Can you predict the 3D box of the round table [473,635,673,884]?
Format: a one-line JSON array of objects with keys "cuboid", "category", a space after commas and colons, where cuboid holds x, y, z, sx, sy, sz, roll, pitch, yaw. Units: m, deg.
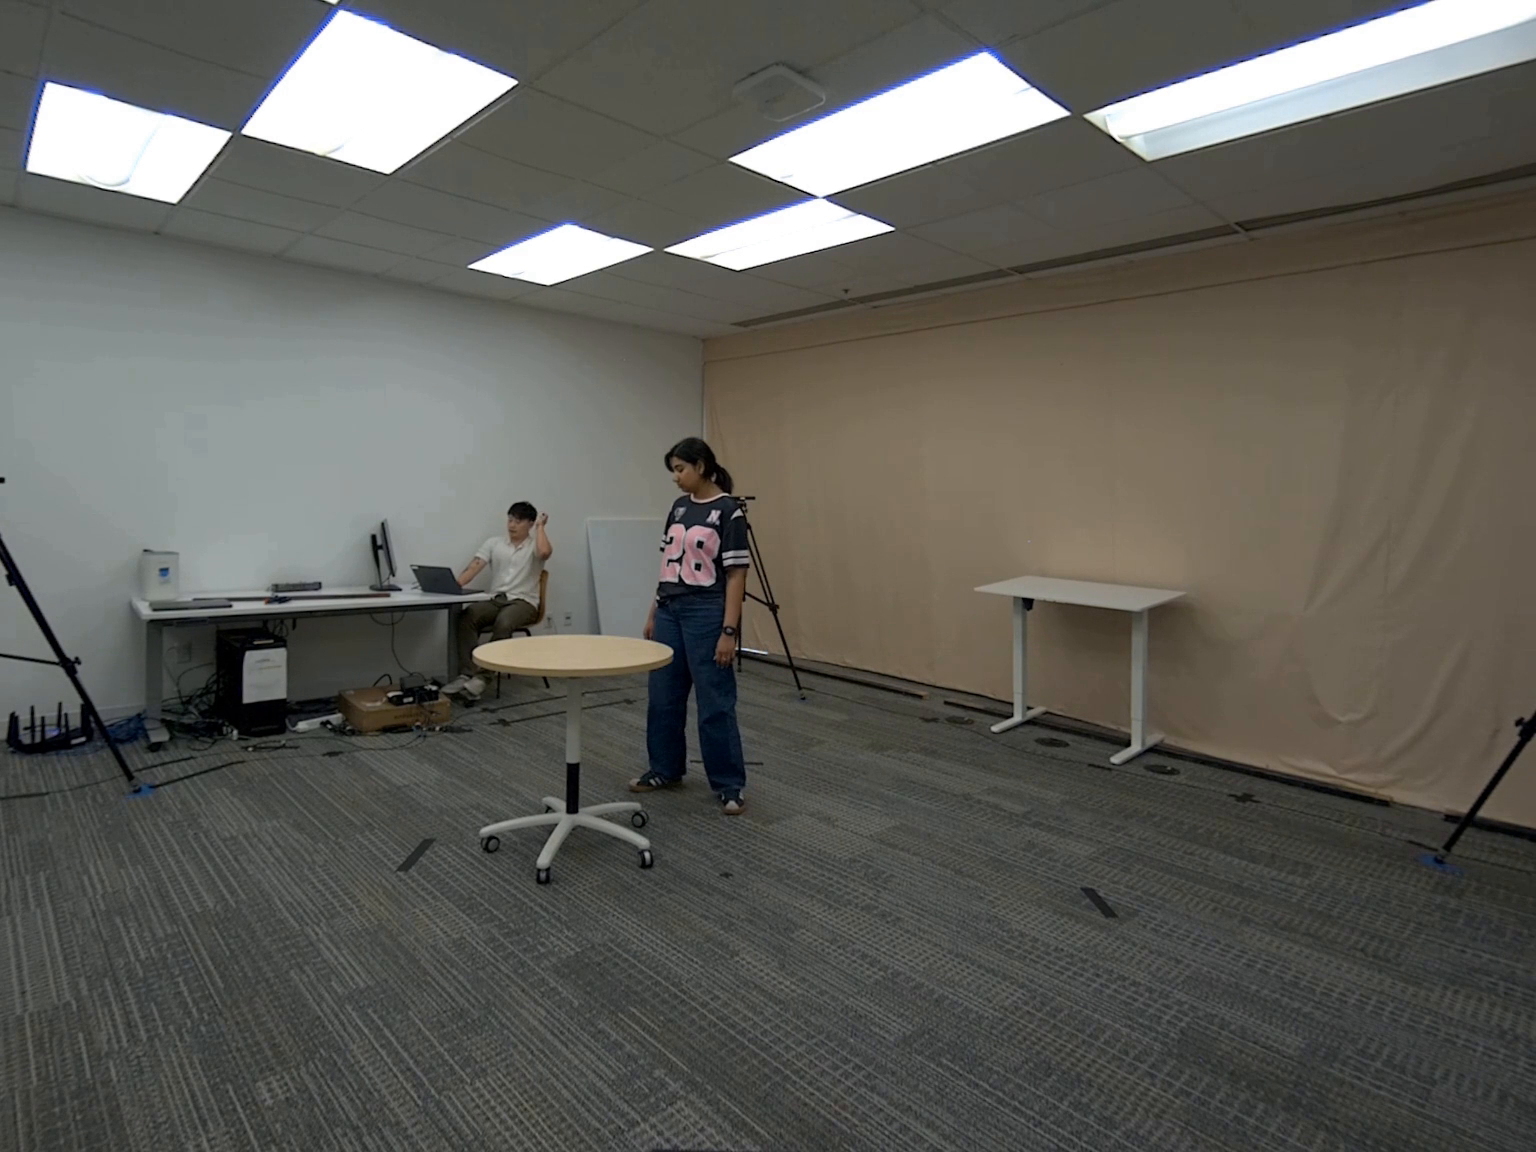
[{"cuboid": [-0.774, 0.687, 3.296, 0.763, 0.792, 0.766, 1, 4, -1], "category": "round table"}]
